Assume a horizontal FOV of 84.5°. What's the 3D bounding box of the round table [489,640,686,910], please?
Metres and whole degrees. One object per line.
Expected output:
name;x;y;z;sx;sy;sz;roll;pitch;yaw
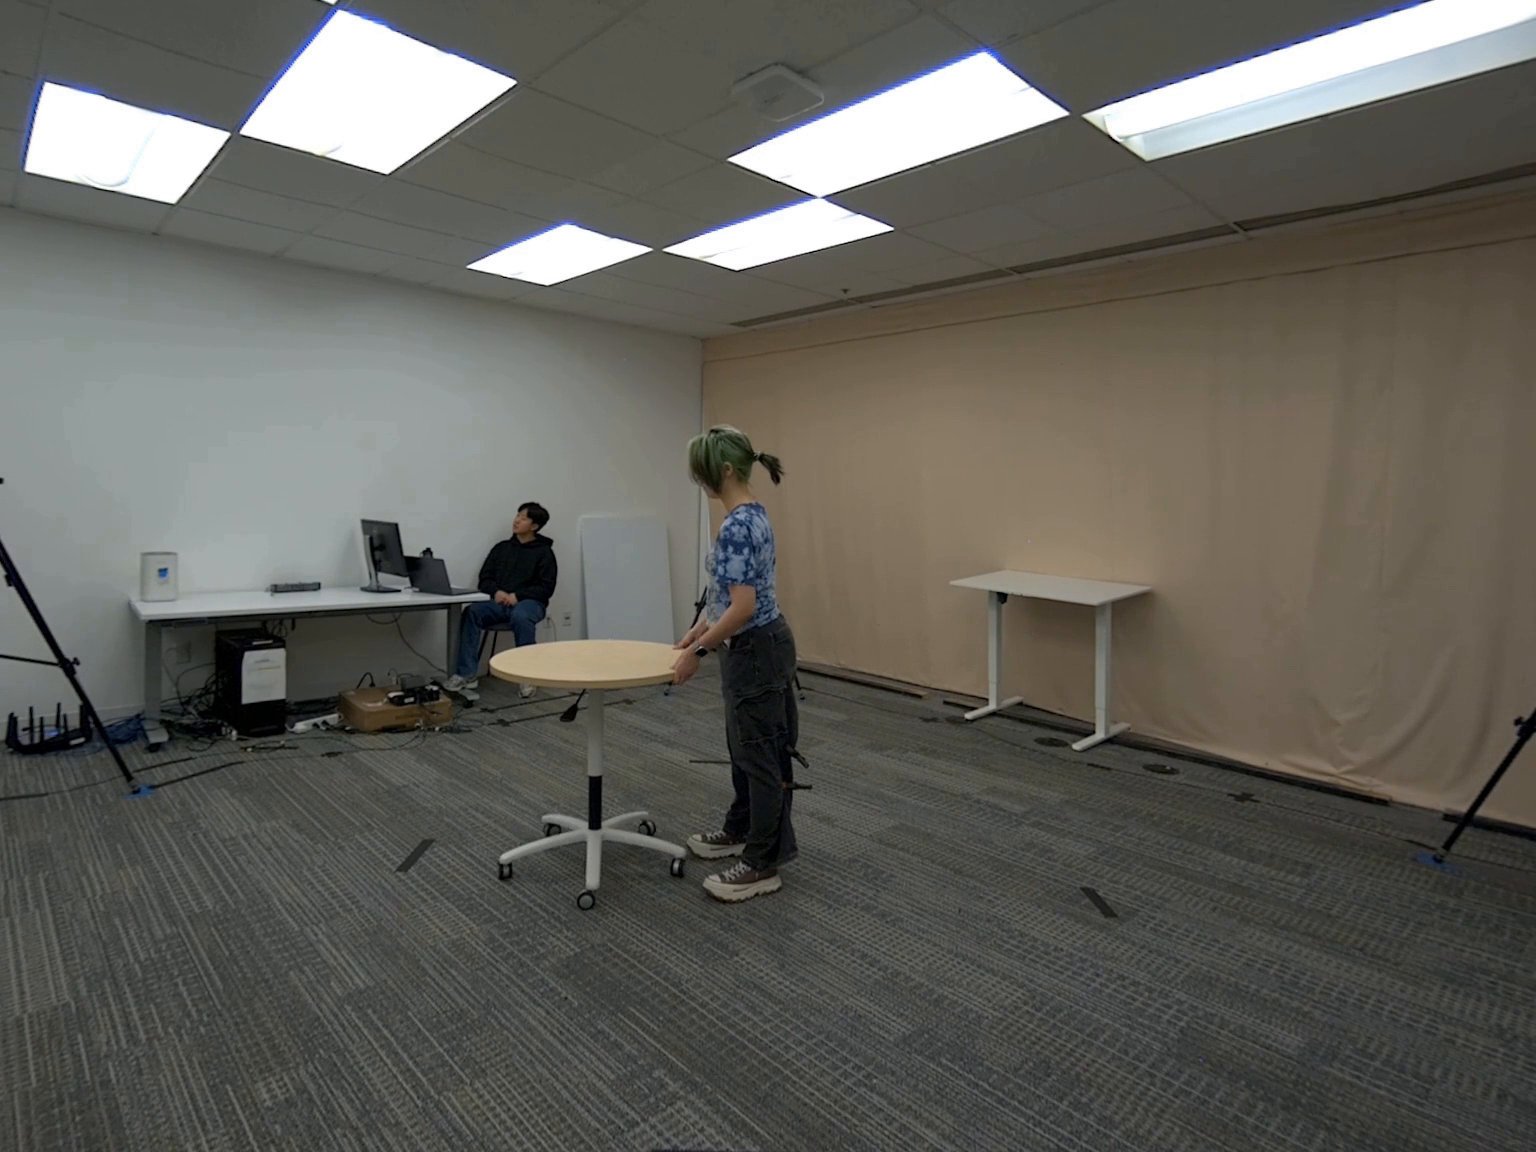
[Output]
round table;-0.648;0.698;3.144;0.763;0.792;0.766;1;4;-1
